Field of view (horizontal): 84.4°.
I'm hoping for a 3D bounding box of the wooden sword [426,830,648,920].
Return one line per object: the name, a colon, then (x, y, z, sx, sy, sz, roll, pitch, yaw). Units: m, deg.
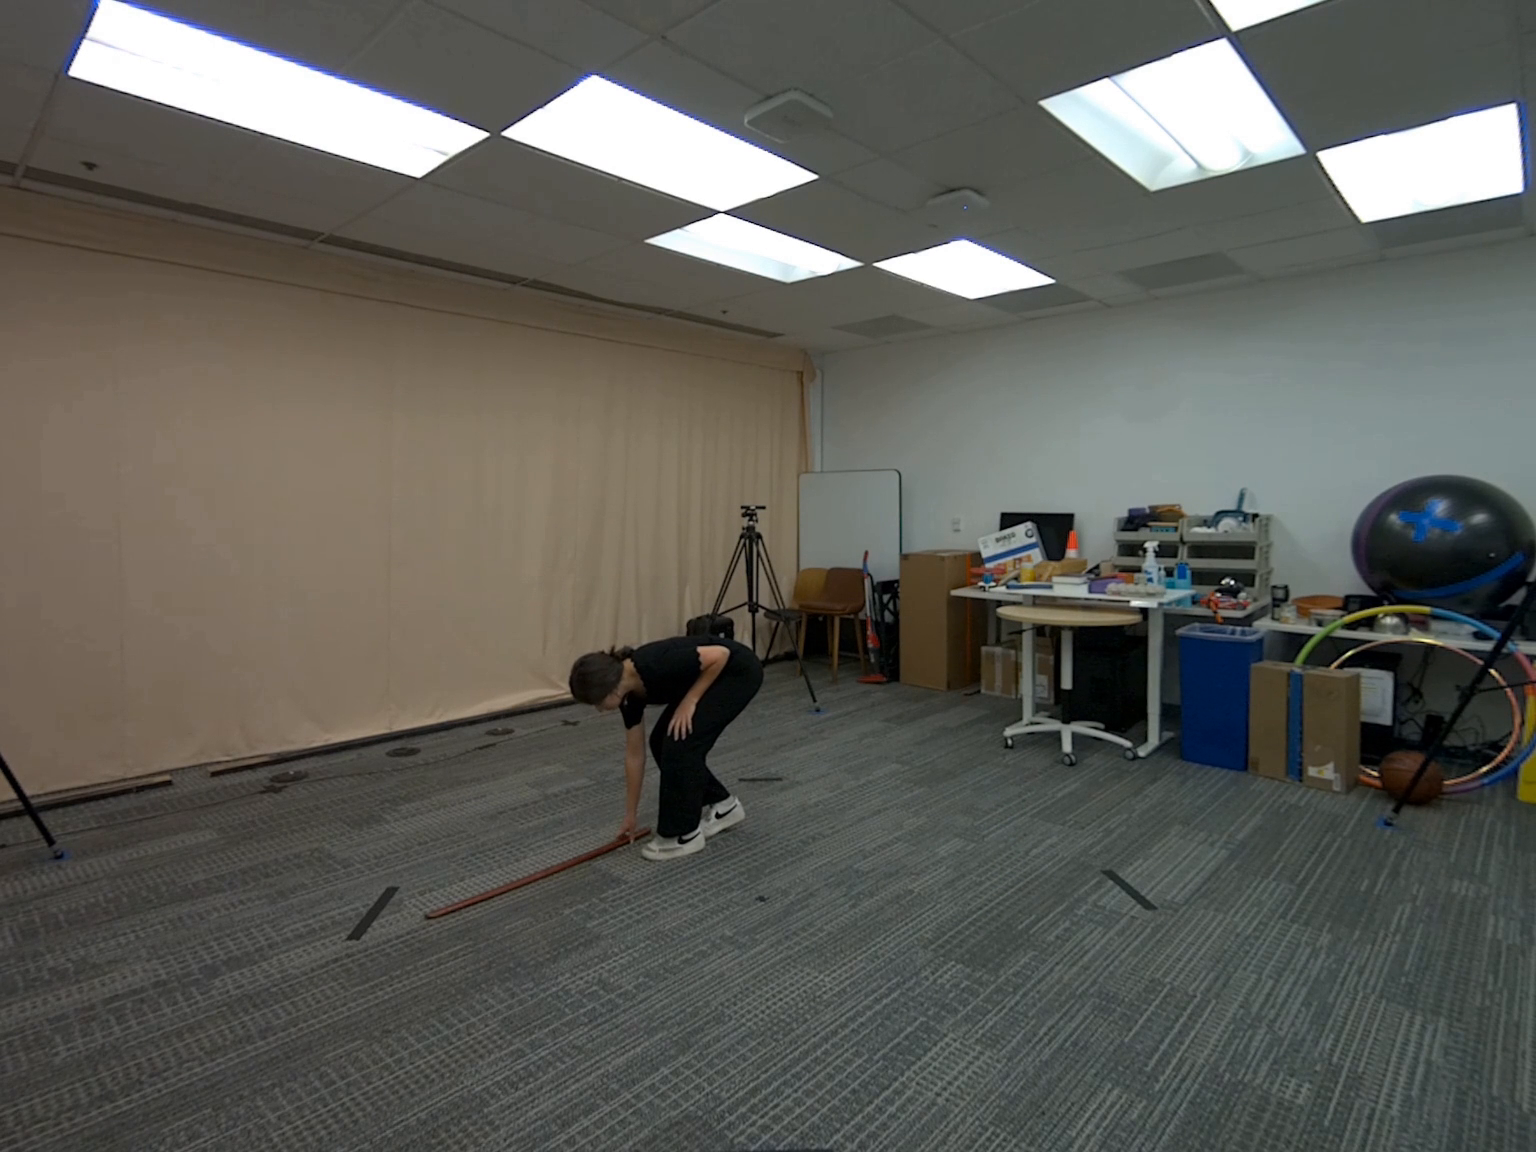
wooden sword: (-0.819, 1.107, 3.189, 0.053, 0.024, 0.994, 22, 19, 39)
